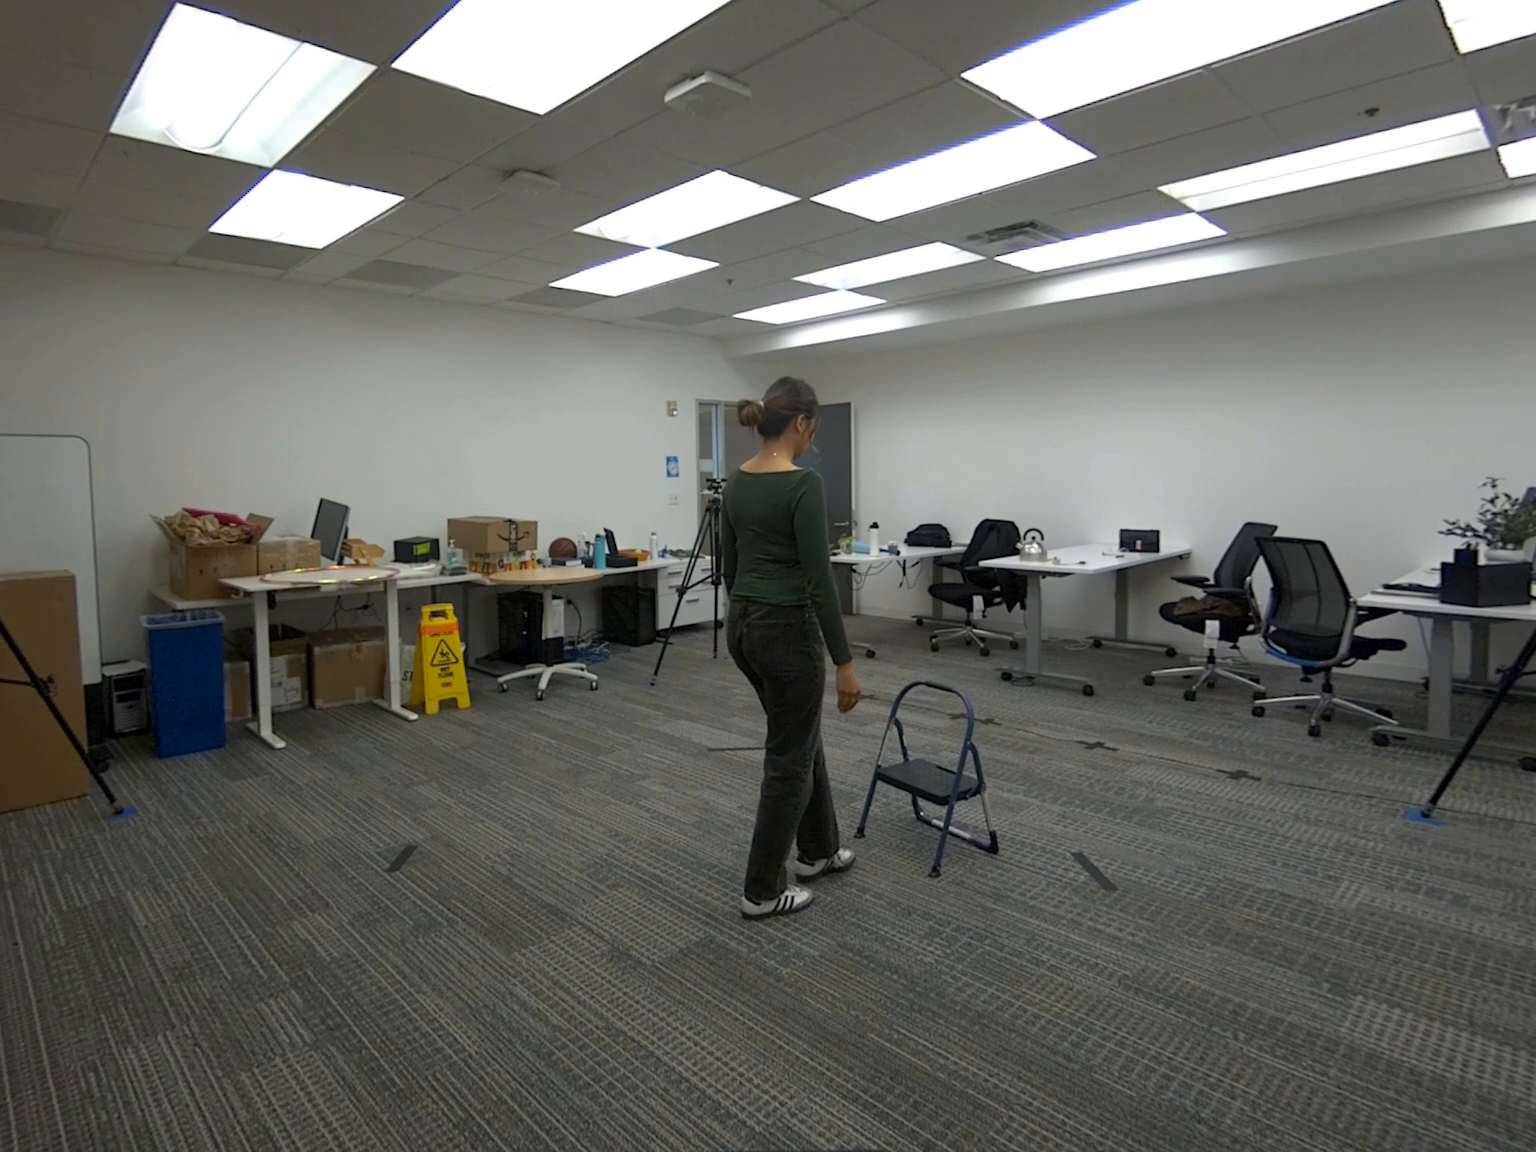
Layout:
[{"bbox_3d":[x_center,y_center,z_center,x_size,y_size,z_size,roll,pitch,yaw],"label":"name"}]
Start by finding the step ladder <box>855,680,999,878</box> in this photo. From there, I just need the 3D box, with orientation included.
[{"bbox_3d":[0.593,0.717,3.217,0.340,0.604,0.443,-3,5,-34],"label":"step ladder"}]
